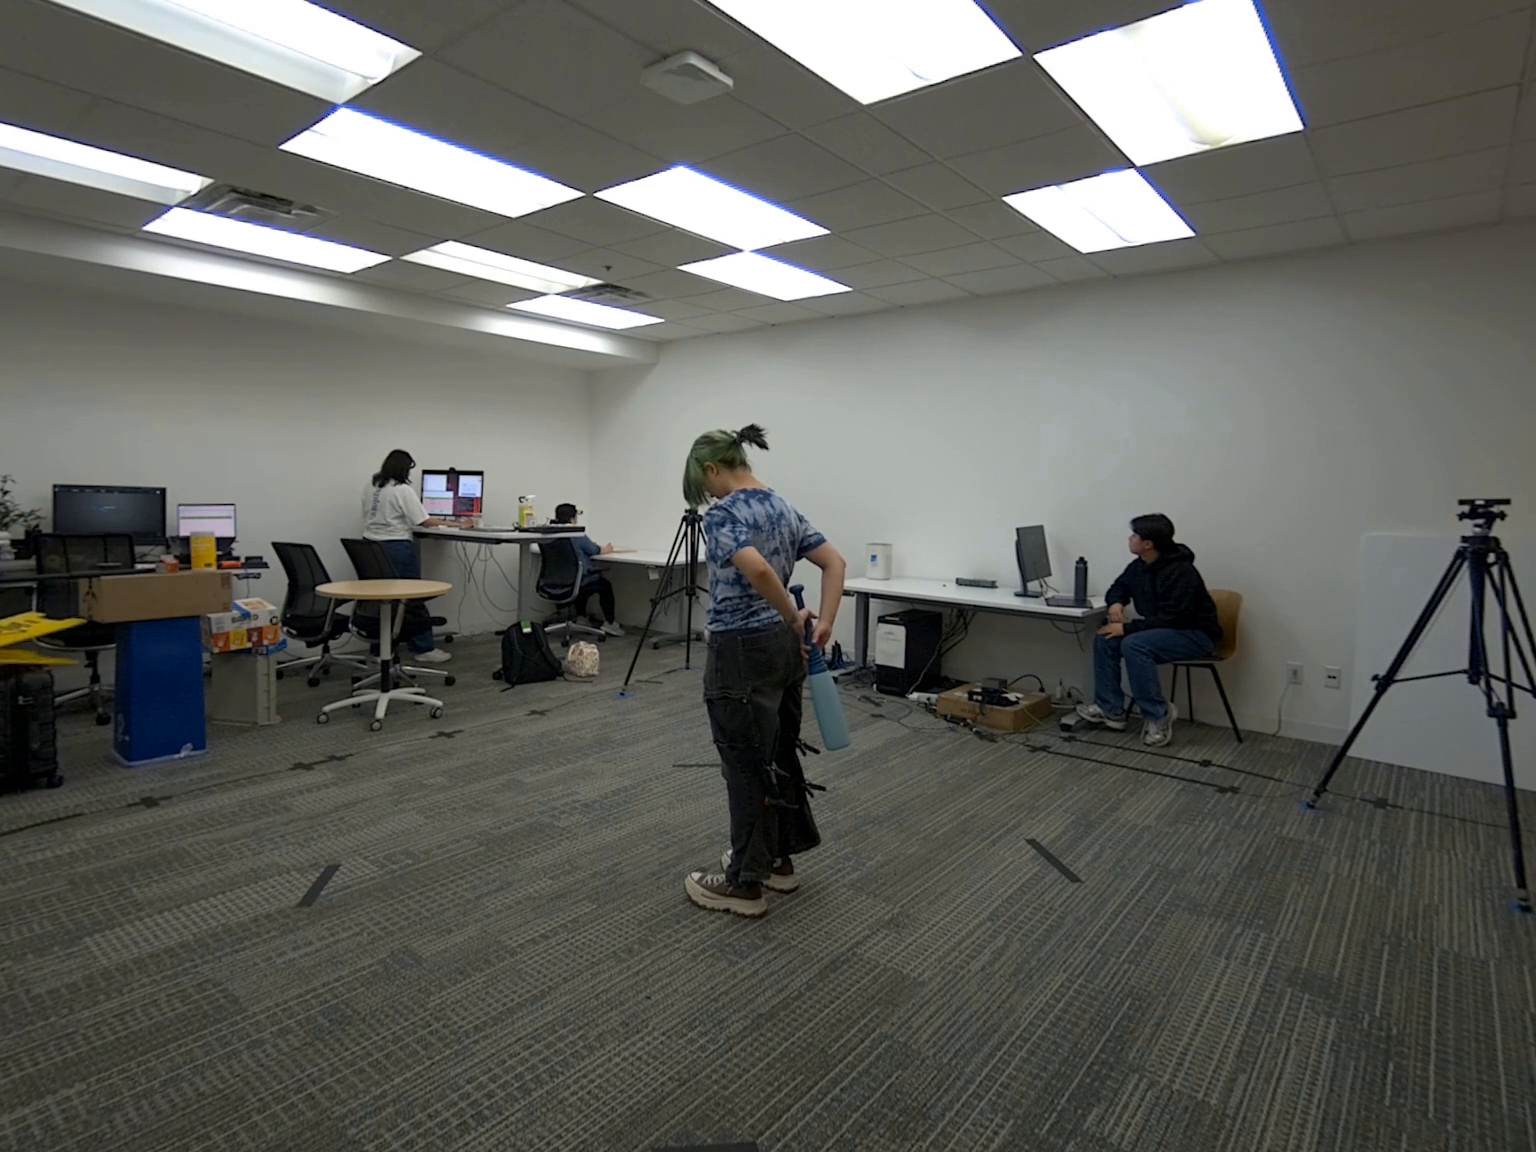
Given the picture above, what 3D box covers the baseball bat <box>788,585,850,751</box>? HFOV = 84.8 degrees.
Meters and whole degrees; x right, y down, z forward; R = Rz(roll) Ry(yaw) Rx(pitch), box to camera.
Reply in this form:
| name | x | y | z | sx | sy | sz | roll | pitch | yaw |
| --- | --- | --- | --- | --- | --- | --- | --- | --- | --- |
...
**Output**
| name | x | y | z | sx | sy | sz | roll | pitch | yaw |
| --- | --- | --- | --- | --- | --- | --- | --- | --- | --- |
| baseball bat | 0.140 | 0.298 | 2.777 | 0.089 | 0.547 | 0.088 | -16 | -5 | -3 |
